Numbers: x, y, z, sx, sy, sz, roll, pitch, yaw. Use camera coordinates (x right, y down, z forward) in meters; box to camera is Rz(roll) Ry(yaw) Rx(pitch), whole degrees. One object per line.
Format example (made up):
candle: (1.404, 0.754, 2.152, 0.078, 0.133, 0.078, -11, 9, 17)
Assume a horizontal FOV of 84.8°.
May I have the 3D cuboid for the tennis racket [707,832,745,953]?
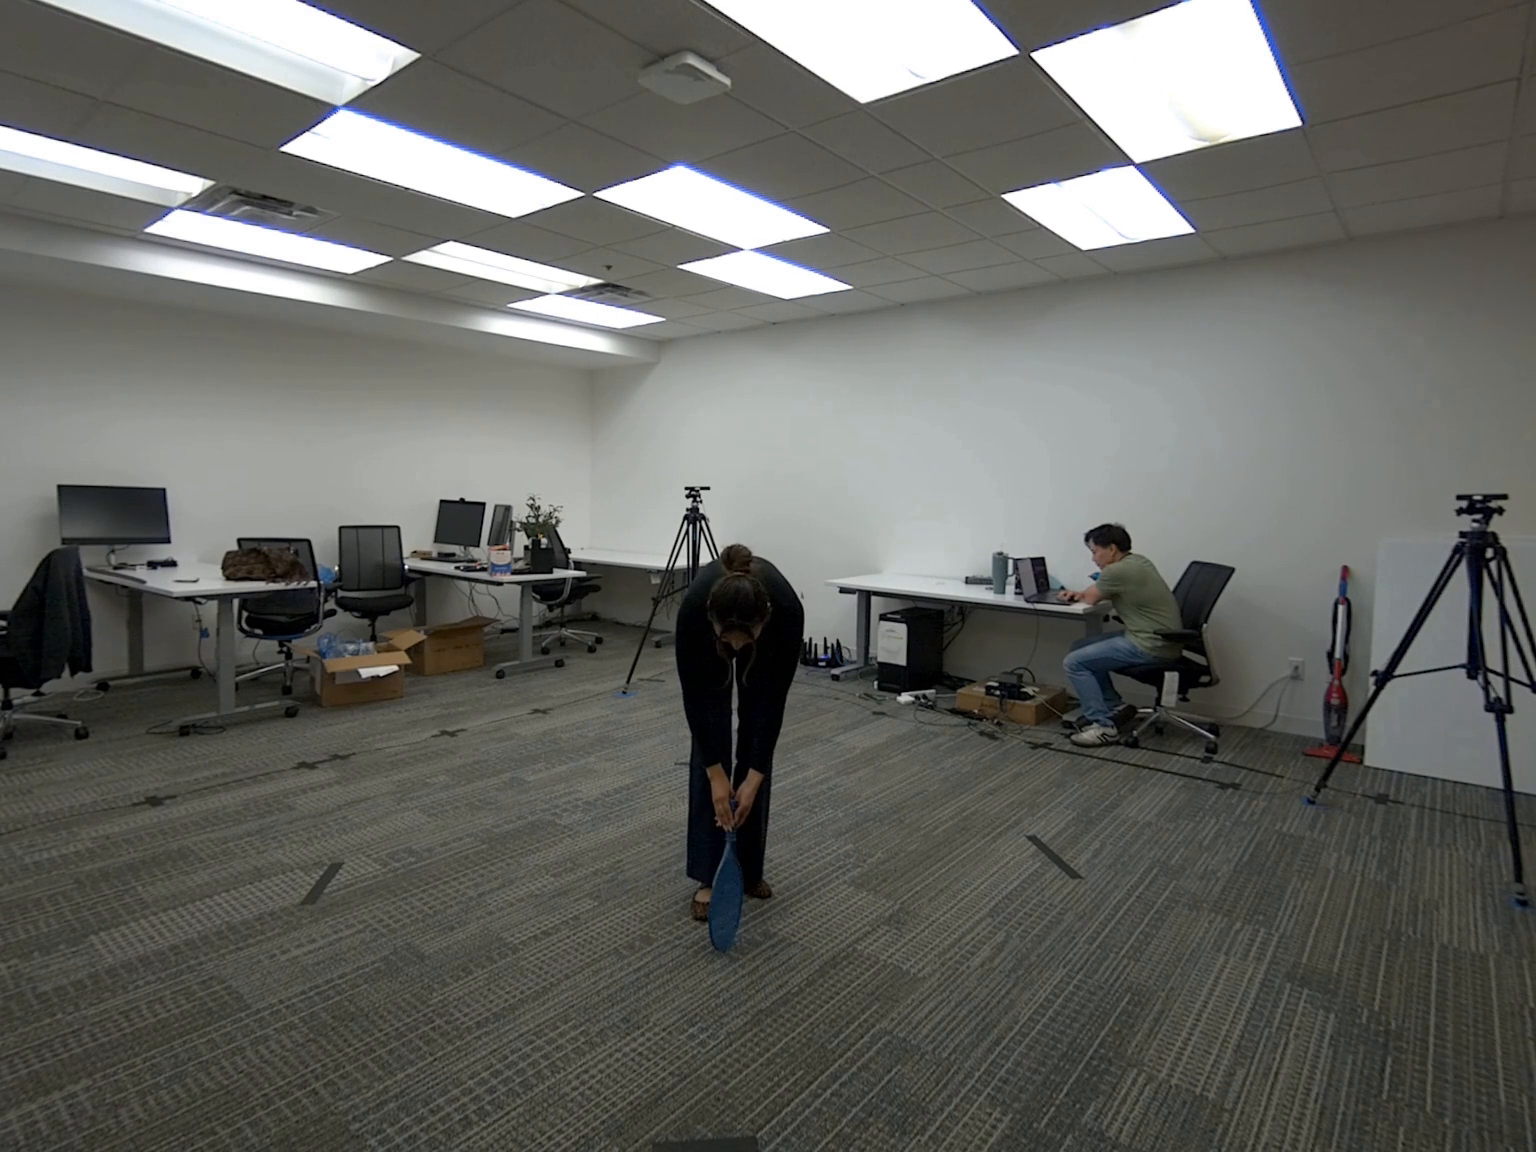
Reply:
tennis racket: (-0.129, 0.907, 2.585, 0.032, 0.437, 0.207, 0, -12, 23)
